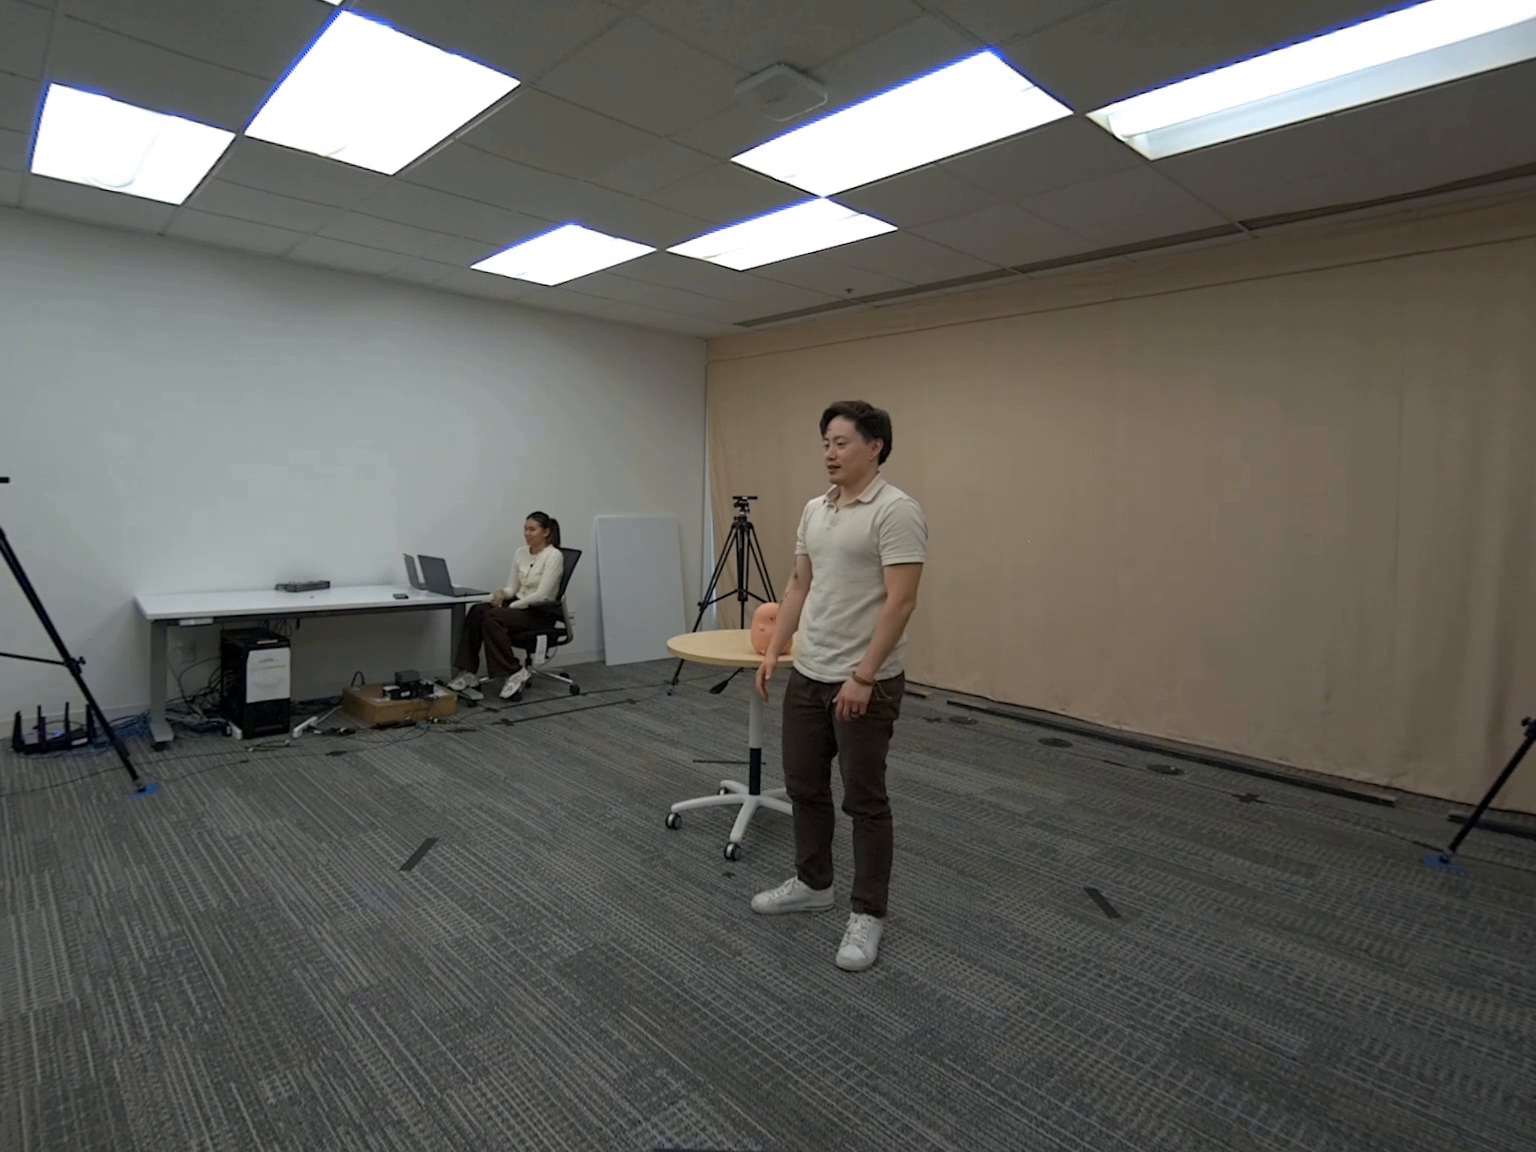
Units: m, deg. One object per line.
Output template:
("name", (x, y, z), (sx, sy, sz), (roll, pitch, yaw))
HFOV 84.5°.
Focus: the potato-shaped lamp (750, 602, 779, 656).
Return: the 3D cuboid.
("potato-shaped lamp", (0.006, 0.205, 3.329), (0.163, 0.198, 0.173), (0, 2, -13))
